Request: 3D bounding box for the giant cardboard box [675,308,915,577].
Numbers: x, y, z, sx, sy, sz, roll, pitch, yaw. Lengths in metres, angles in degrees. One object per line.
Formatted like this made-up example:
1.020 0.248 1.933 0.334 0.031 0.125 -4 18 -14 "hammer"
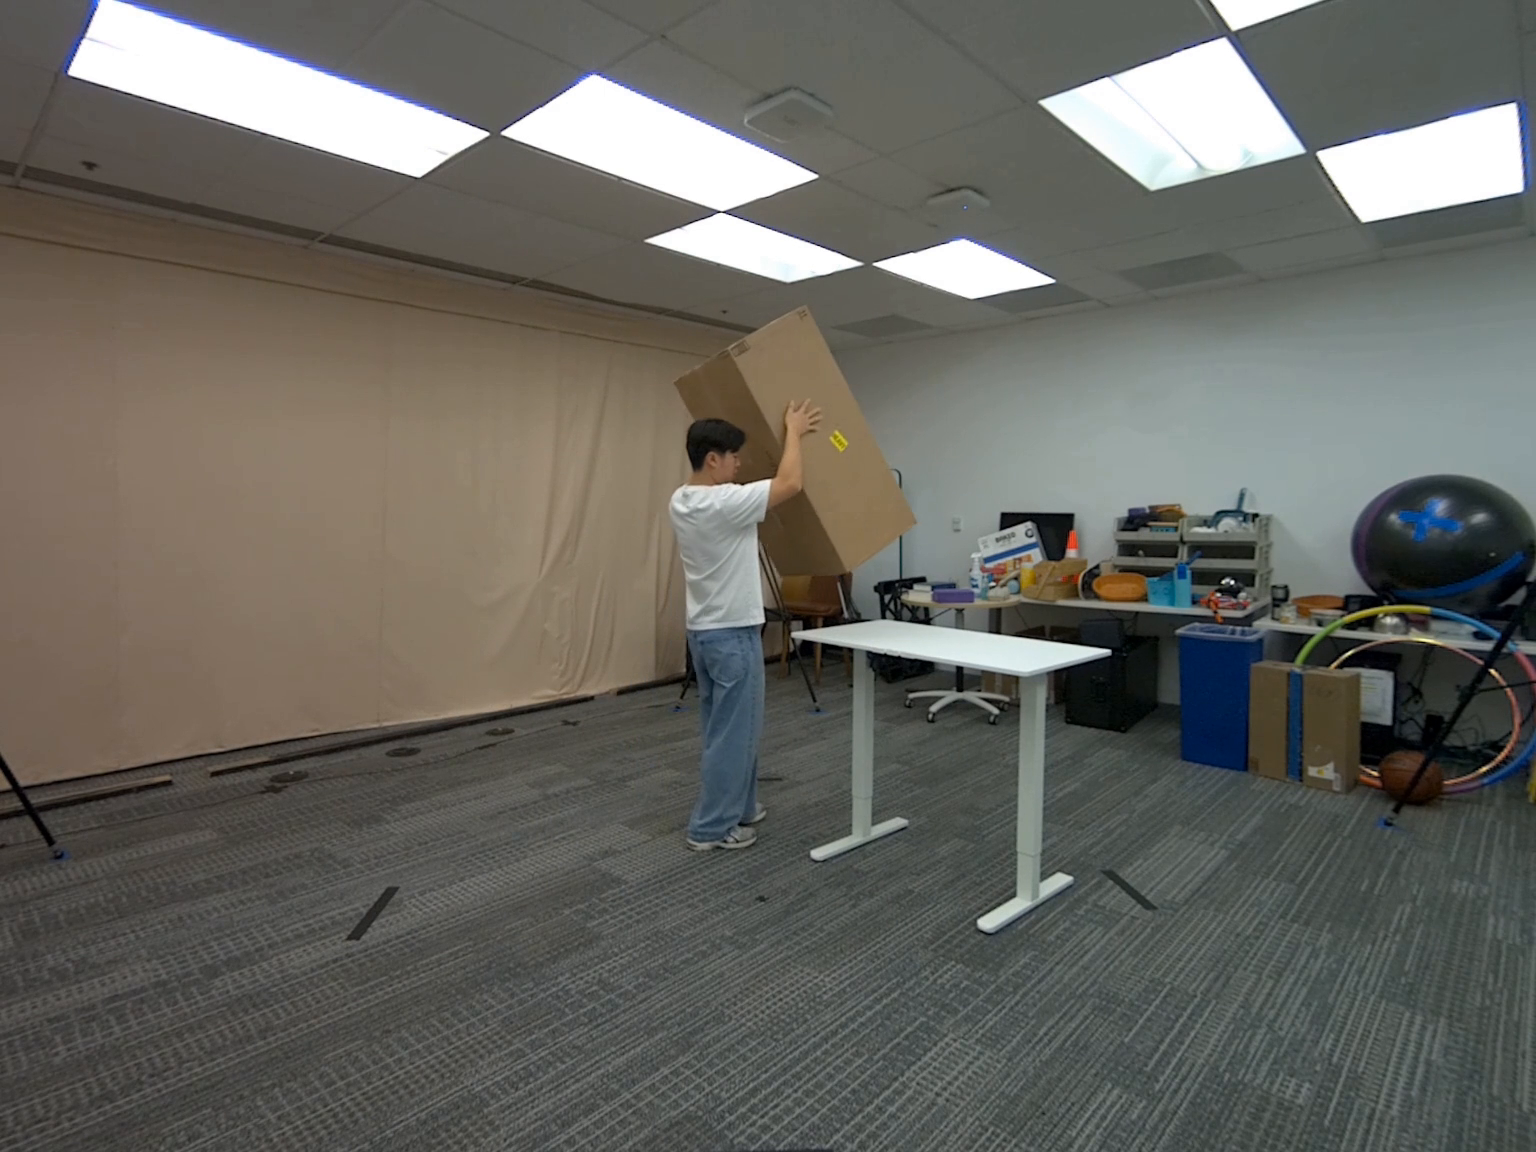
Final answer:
0.110 -0.537 3.669 0.421 1.015 0.590 -33 11 -24 "giant cardboard box"
